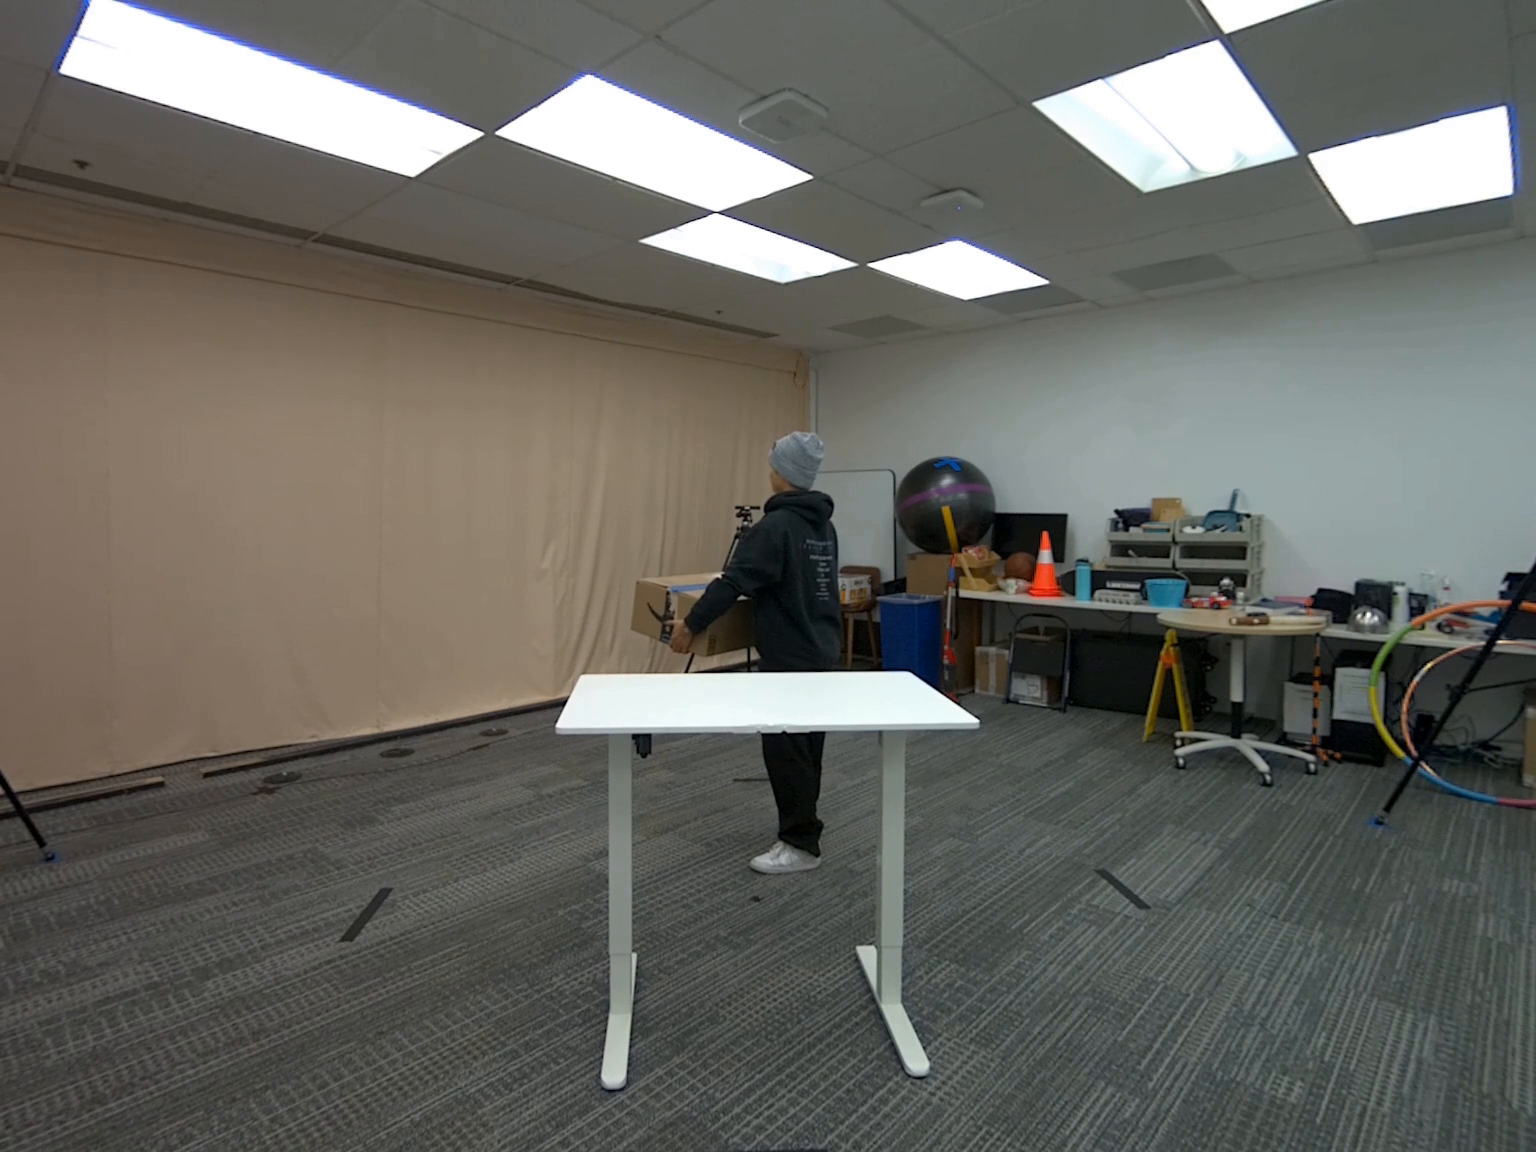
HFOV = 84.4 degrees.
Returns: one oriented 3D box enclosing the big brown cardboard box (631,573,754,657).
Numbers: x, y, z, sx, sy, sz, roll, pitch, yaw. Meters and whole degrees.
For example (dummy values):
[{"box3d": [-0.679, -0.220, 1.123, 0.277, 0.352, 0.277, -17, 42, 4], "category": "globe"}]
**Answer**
[{"box3d": [-0.216, 0.144, 3.537, 0.432, 0.232, 0.572, 14, 13, 36], "category": "big brown cardboard box"}]
